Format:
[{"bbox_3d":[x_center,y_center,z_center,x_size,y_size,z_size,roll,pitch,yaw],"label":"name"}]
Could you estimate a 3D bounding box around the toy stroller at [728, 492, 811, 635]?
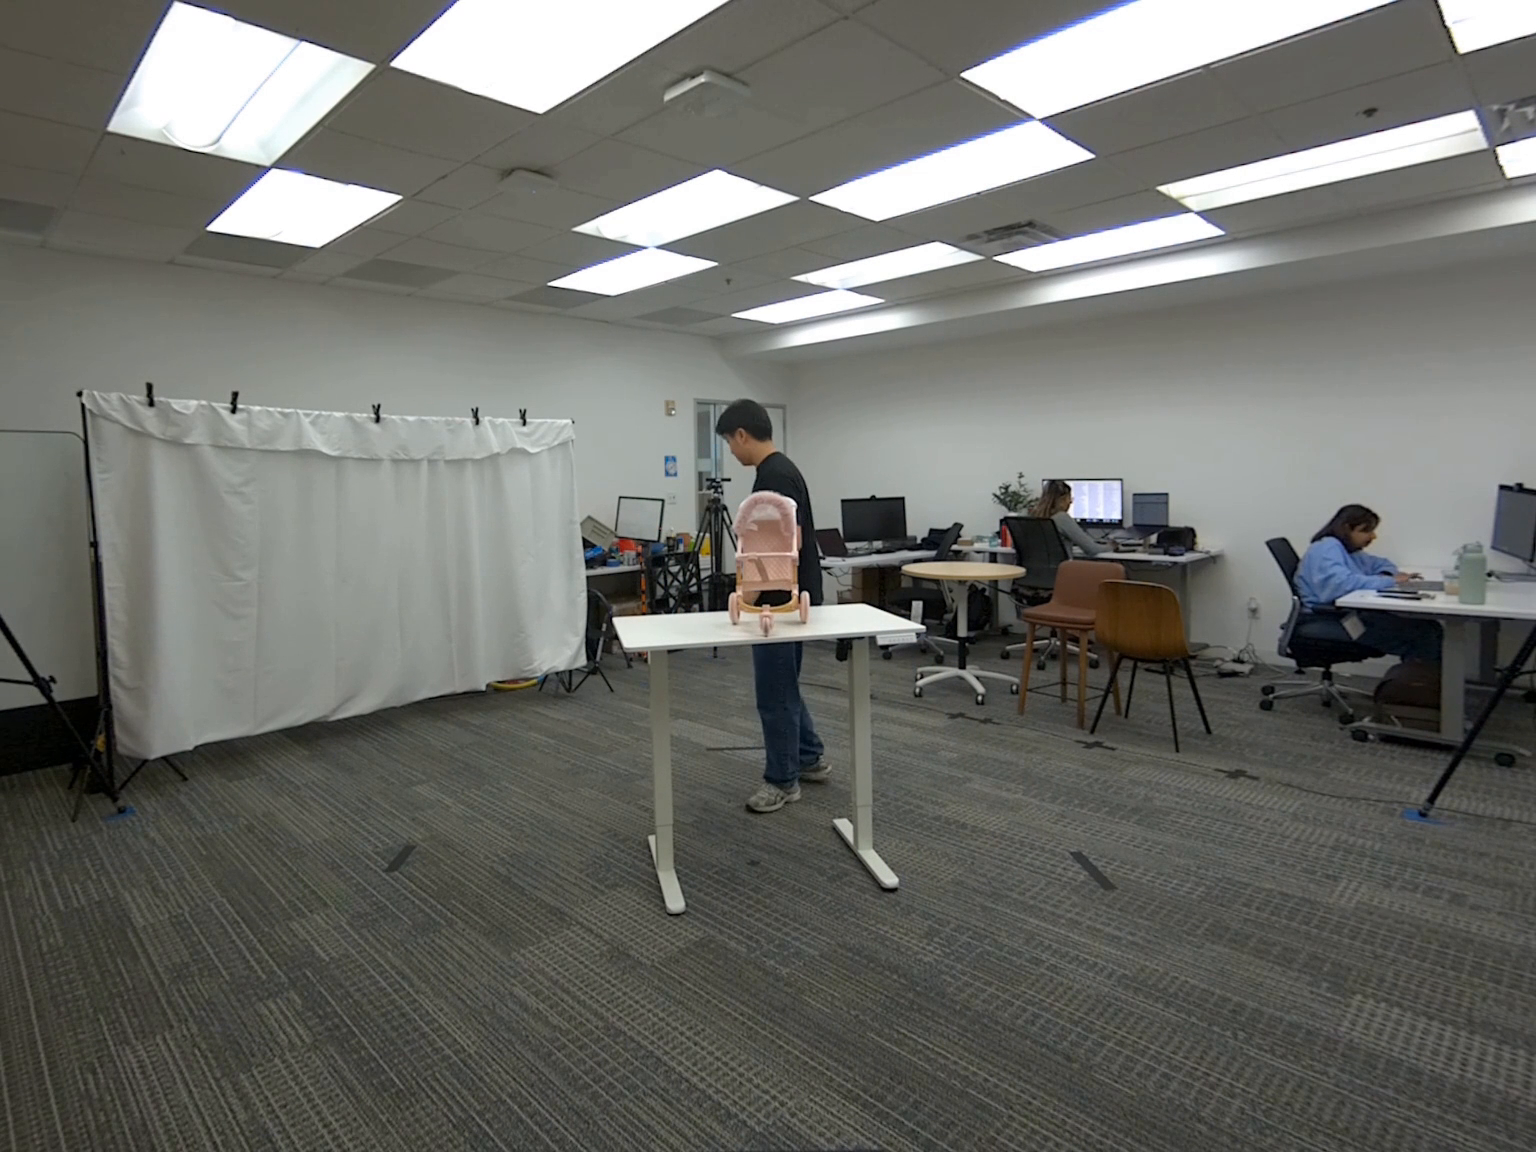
[{"bbox_3d":[-0.007,-0.047,2.933,0.284,0.540,0.335,-1,-10,9],"label":"toy stroller"}]
